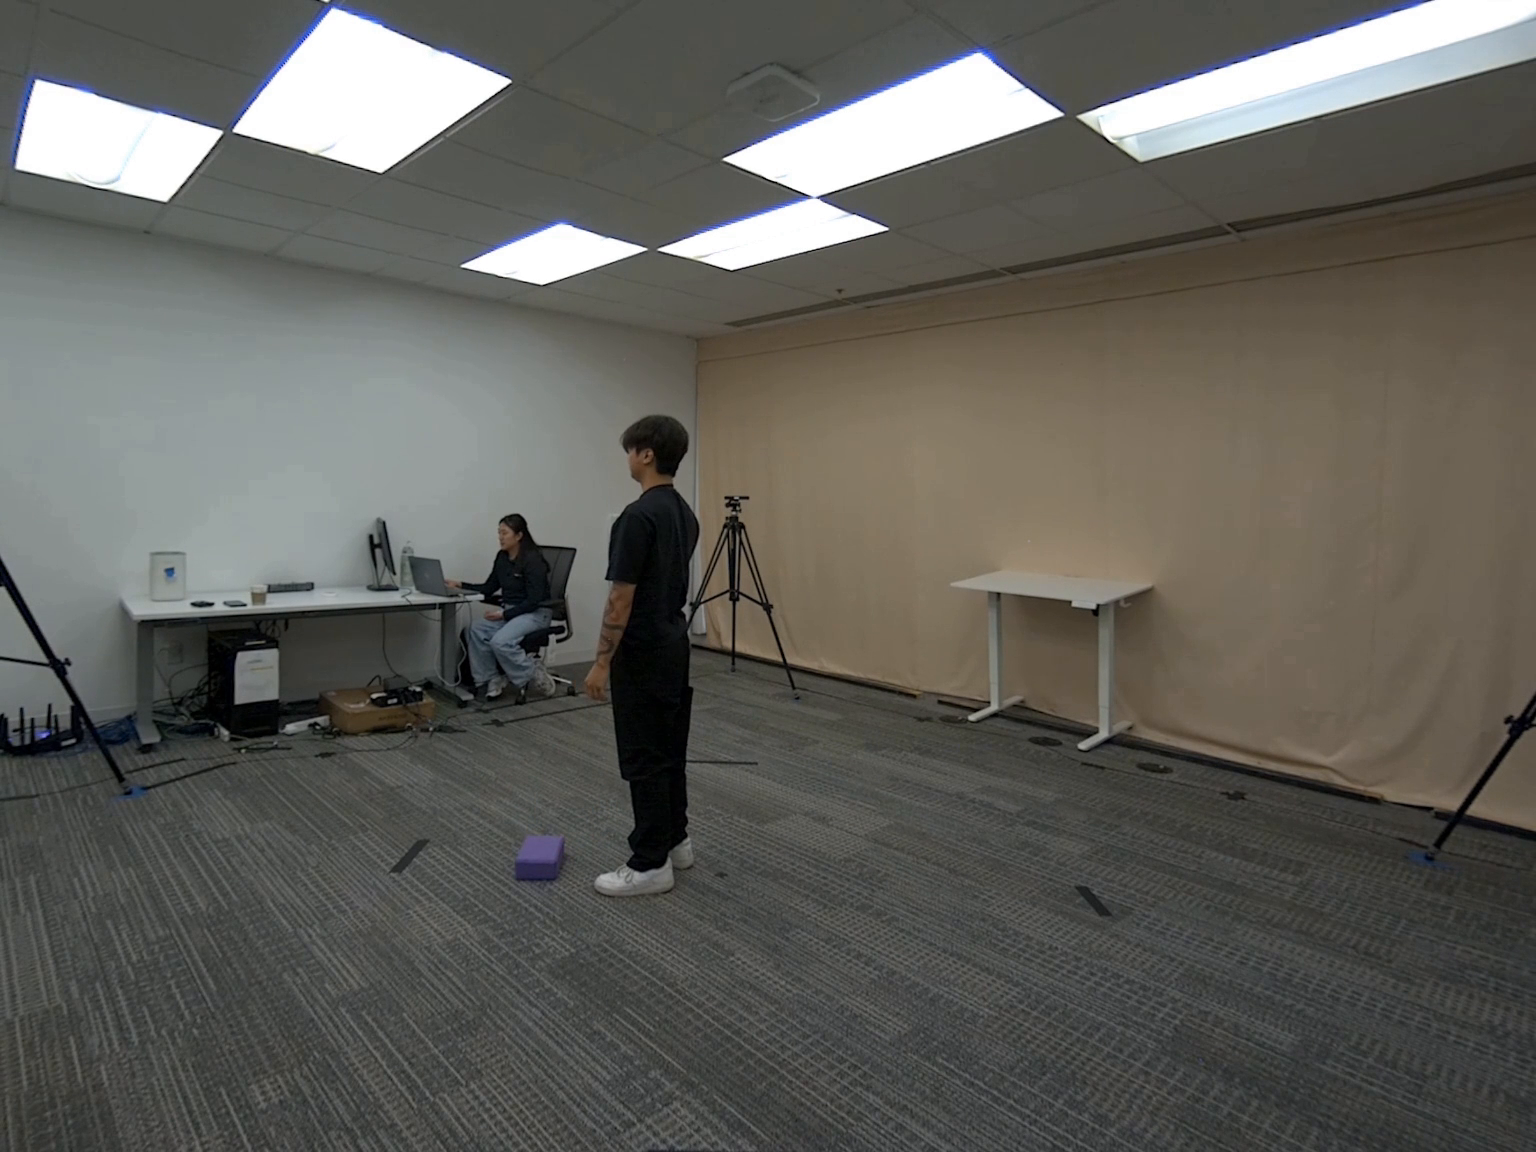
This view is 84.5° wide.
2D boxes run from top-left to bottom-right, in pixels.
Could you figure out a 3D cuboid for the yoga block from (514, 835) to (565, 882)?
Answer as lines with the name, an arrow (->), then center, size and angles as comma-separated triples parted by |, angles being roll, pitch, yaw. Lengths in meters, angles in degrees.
yoga block -> -0.842, 1.036, 3.134 | 0.148, 0.076, 0.231 | 3, 6, -4
